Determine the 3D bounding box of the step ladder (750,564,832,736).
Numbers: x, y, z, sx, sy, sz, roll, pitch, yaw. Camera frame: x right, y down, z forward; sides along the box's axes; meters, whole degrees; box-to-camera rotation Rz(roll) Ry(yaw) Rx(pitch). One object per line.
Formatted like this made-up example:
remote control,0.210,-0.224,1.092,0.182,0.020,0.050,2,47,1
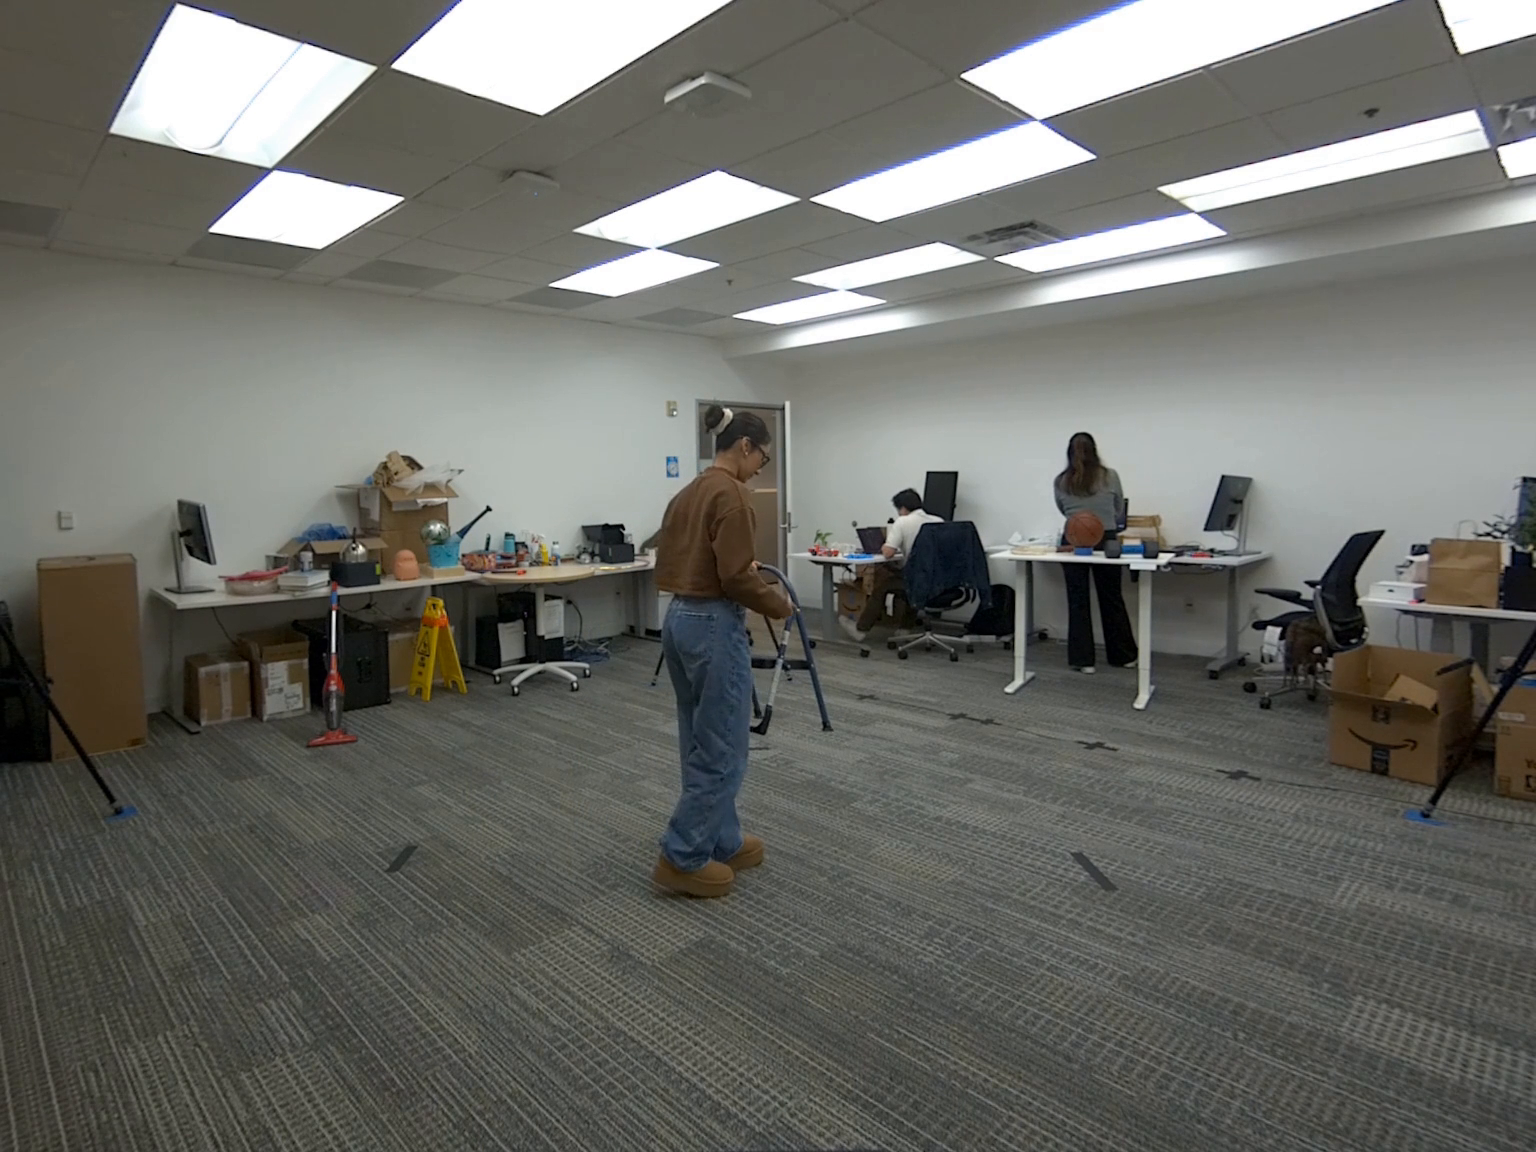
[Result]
step ladder,-0.007,0.262,3.266,0.338,0.609,0.442,6,-6,-39
